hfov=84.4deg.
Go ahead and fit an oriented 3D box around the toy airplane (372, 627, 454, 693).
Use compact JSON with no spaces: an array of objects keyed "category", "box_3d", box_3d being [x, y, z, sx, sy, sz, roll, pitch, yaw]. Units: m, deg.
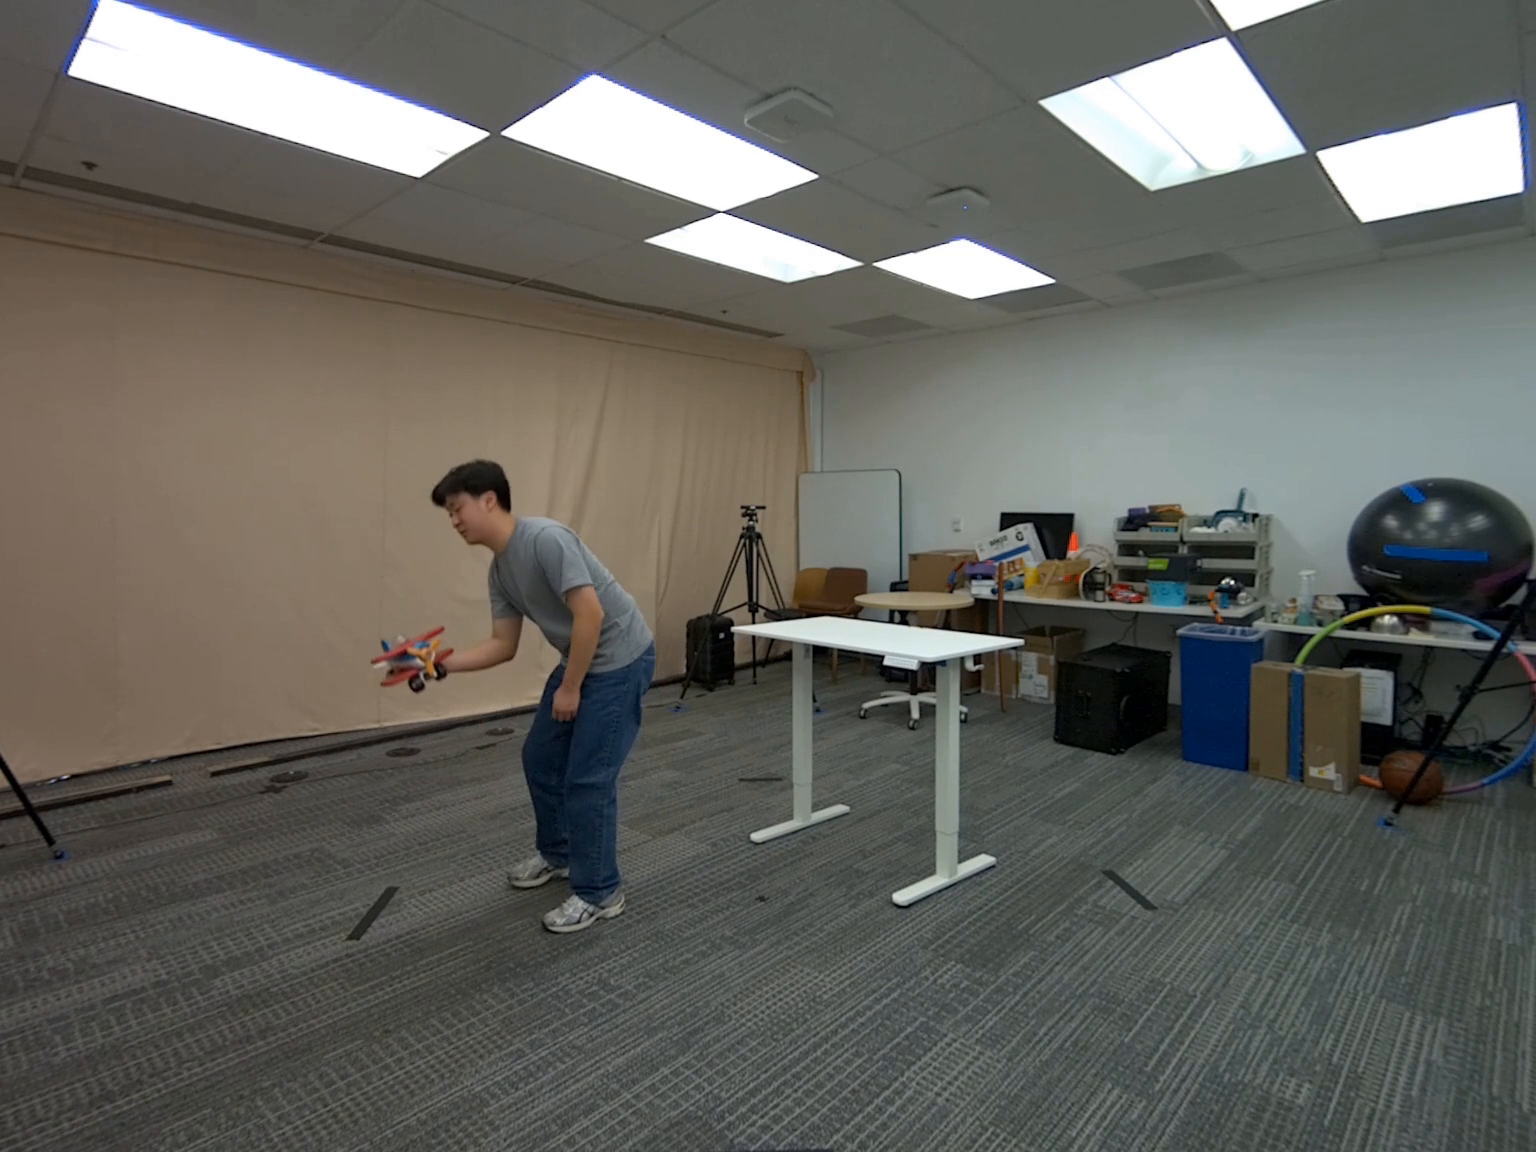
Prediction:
[{"category":"toy airplane","box_3d":[-1.167,0.251,2.700,0.264,0.154,0.250,7,23,15]}]
